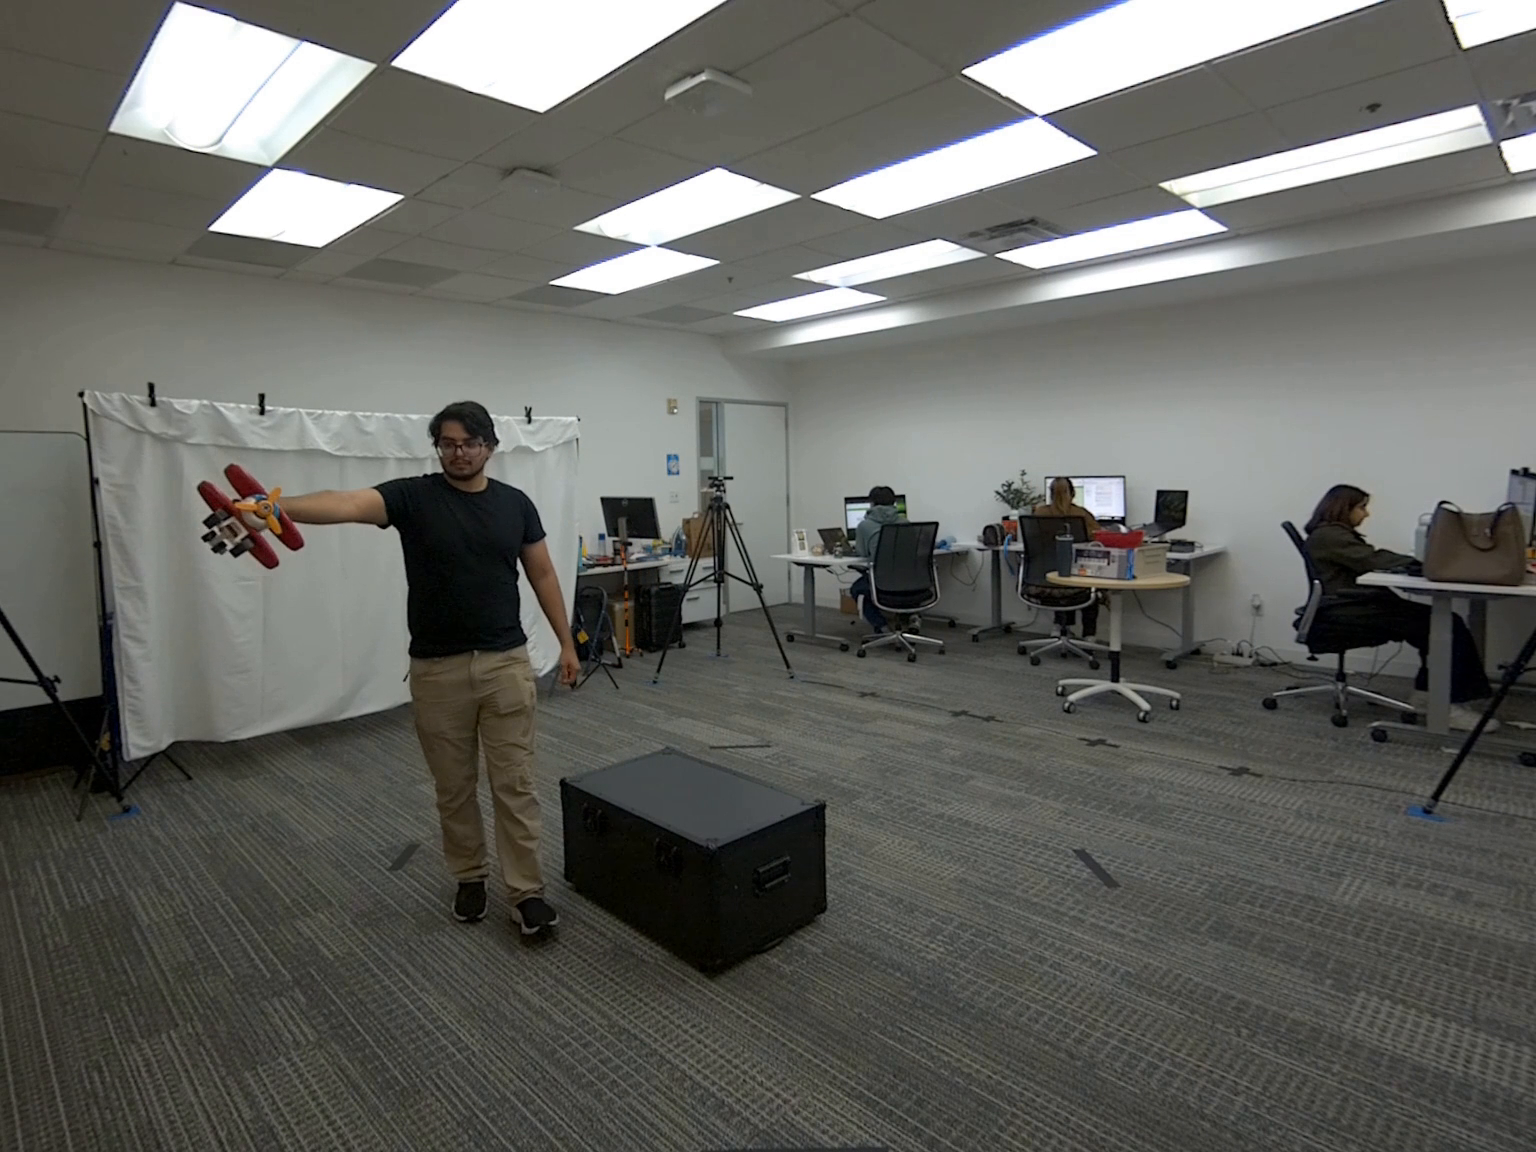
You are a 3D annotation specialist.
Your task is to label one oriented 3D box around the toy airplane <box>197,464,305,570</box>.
[{"bbox_3d":[-1.300,-0.138,2.085,0.268,0.243,0.156,21,51,32],"label":"toy airplane"}]
